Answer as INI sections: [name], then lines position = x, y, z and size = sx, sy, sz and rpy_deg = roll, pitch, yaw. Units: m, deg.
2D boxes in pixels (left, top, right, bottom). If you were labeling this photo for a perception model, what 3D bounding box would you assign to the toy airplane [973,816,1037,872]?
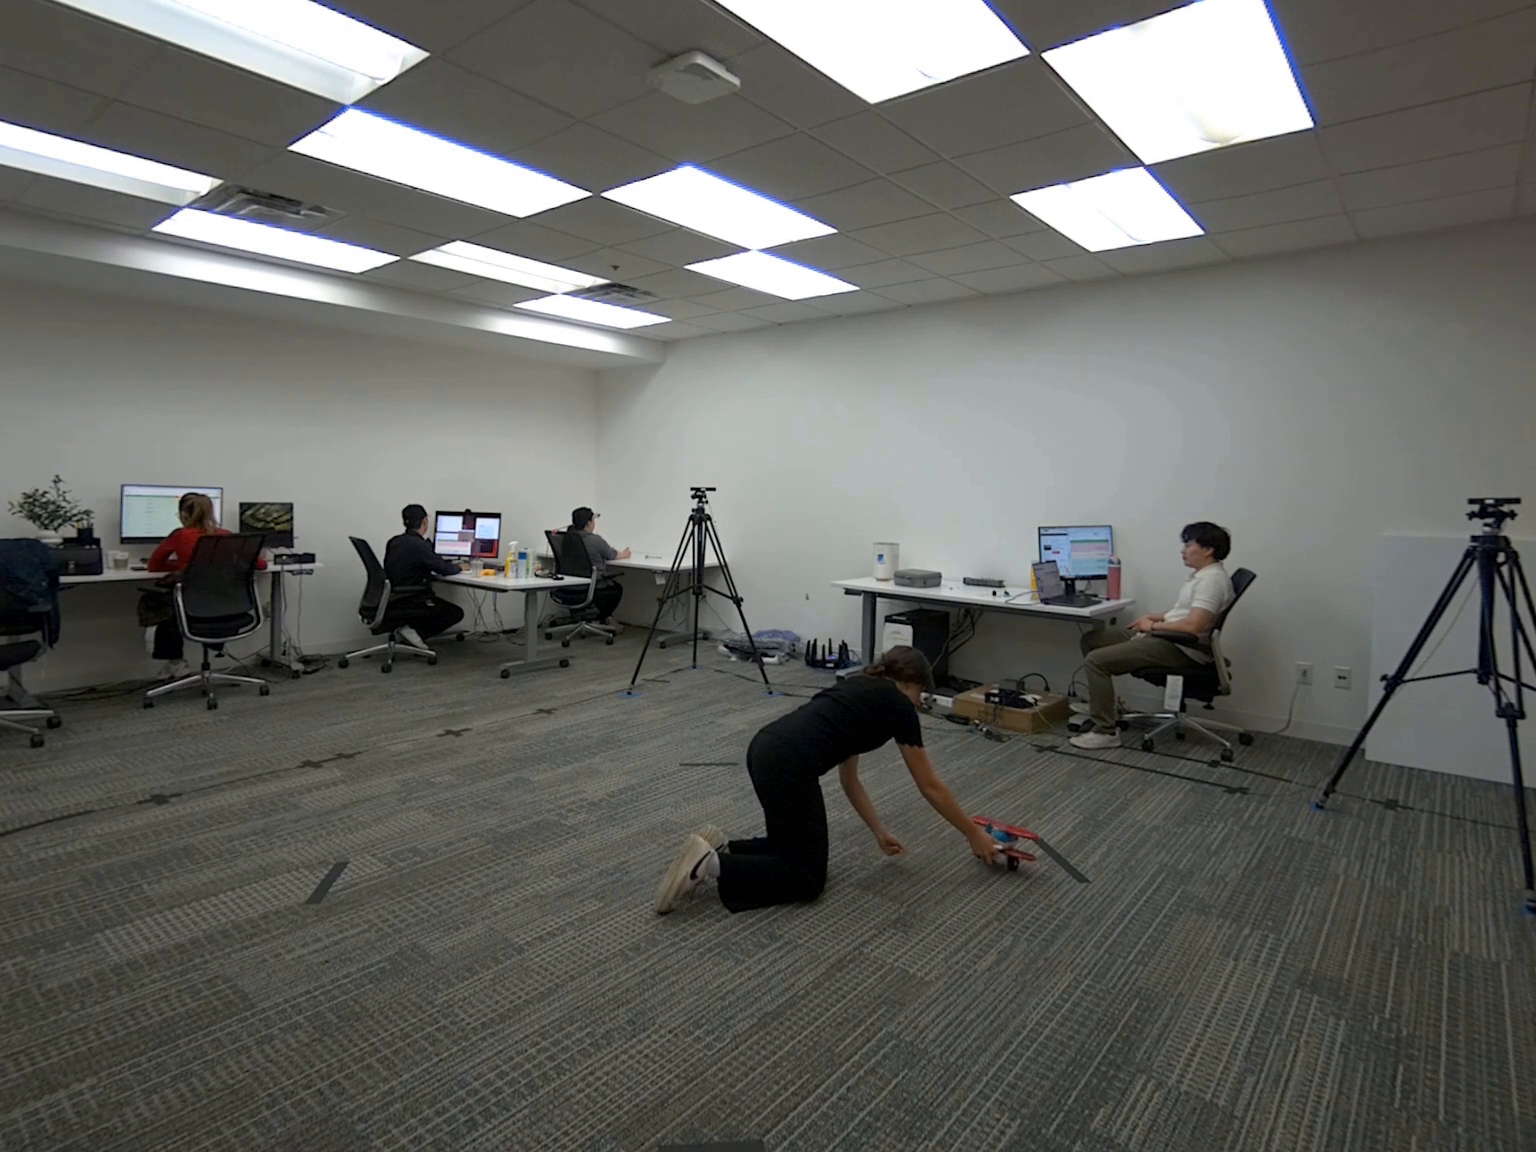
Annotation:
[toy airplane]
position = 0.865, 0.993, 3.139
size = 0.255, 0.158, 0.252
rpy_deg = 15, -17, 12
